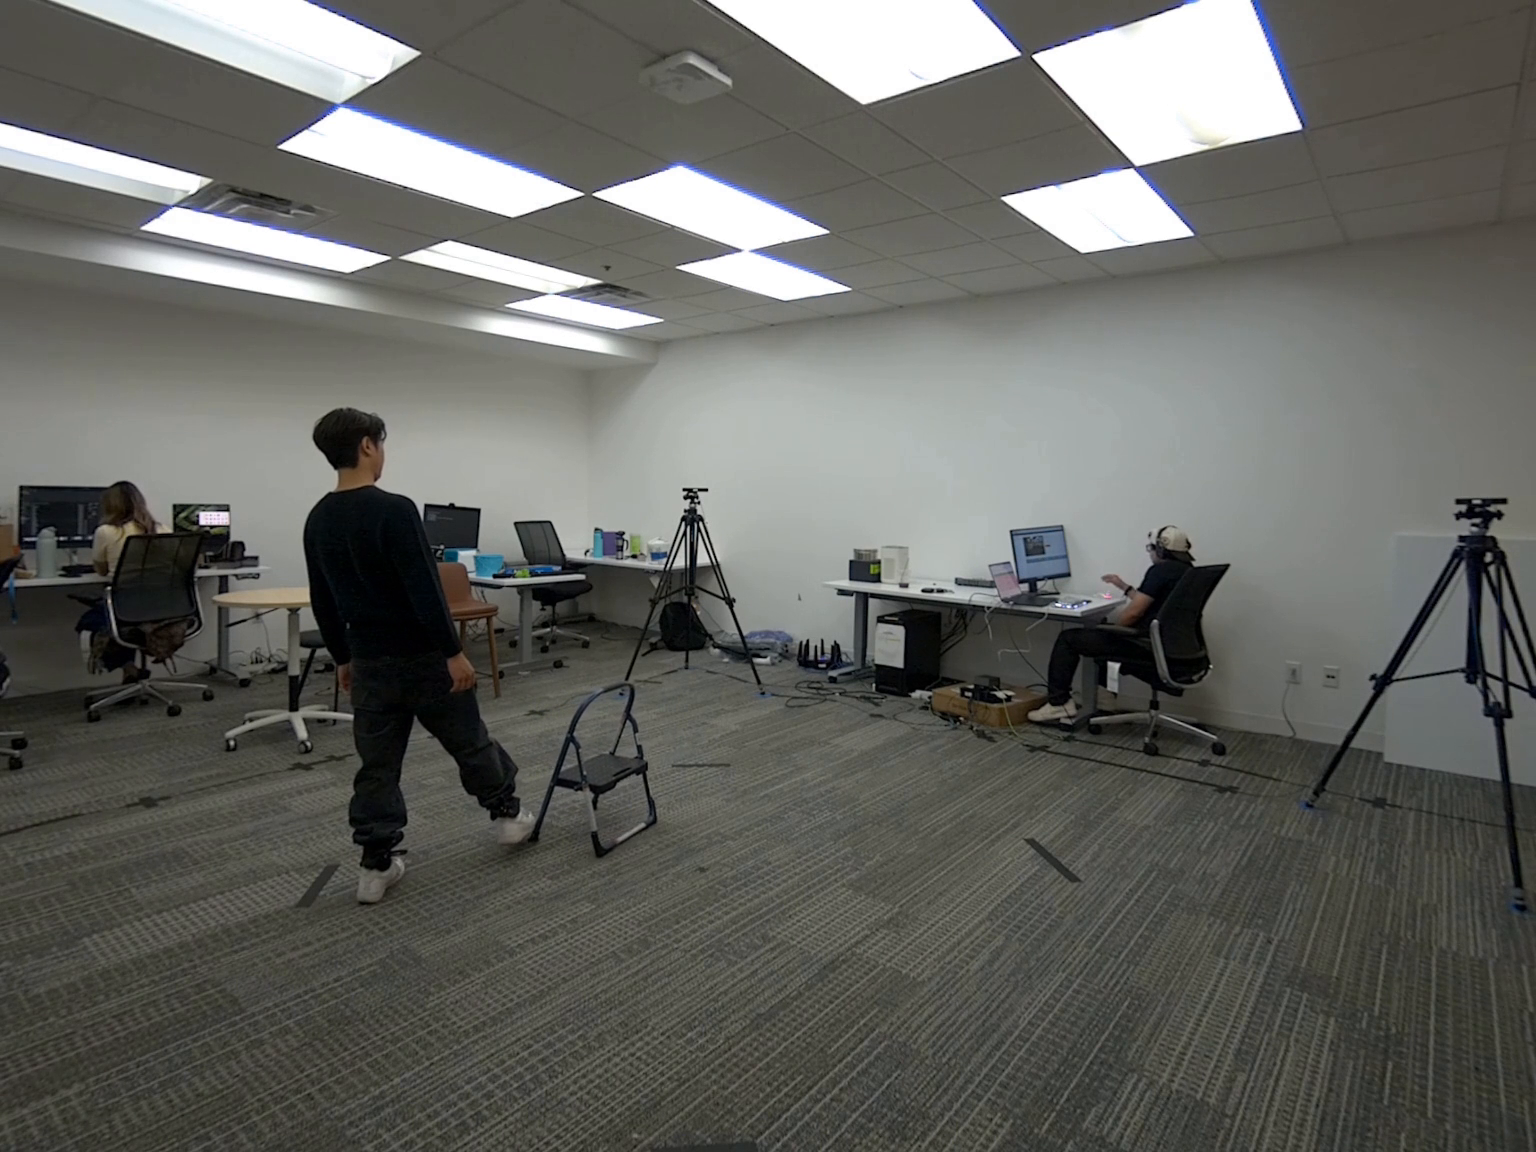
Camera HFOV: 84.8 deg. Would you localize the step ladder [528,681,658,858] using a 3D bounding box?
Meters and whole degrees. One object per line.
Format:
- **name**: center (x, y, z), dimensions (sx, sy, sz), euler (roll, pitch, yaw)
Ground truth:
- **step ladder**: center (-0.707, 0.726, 3.427), dimensions (0.358, 0.604, 0.421), euler (2, 4, 25)
